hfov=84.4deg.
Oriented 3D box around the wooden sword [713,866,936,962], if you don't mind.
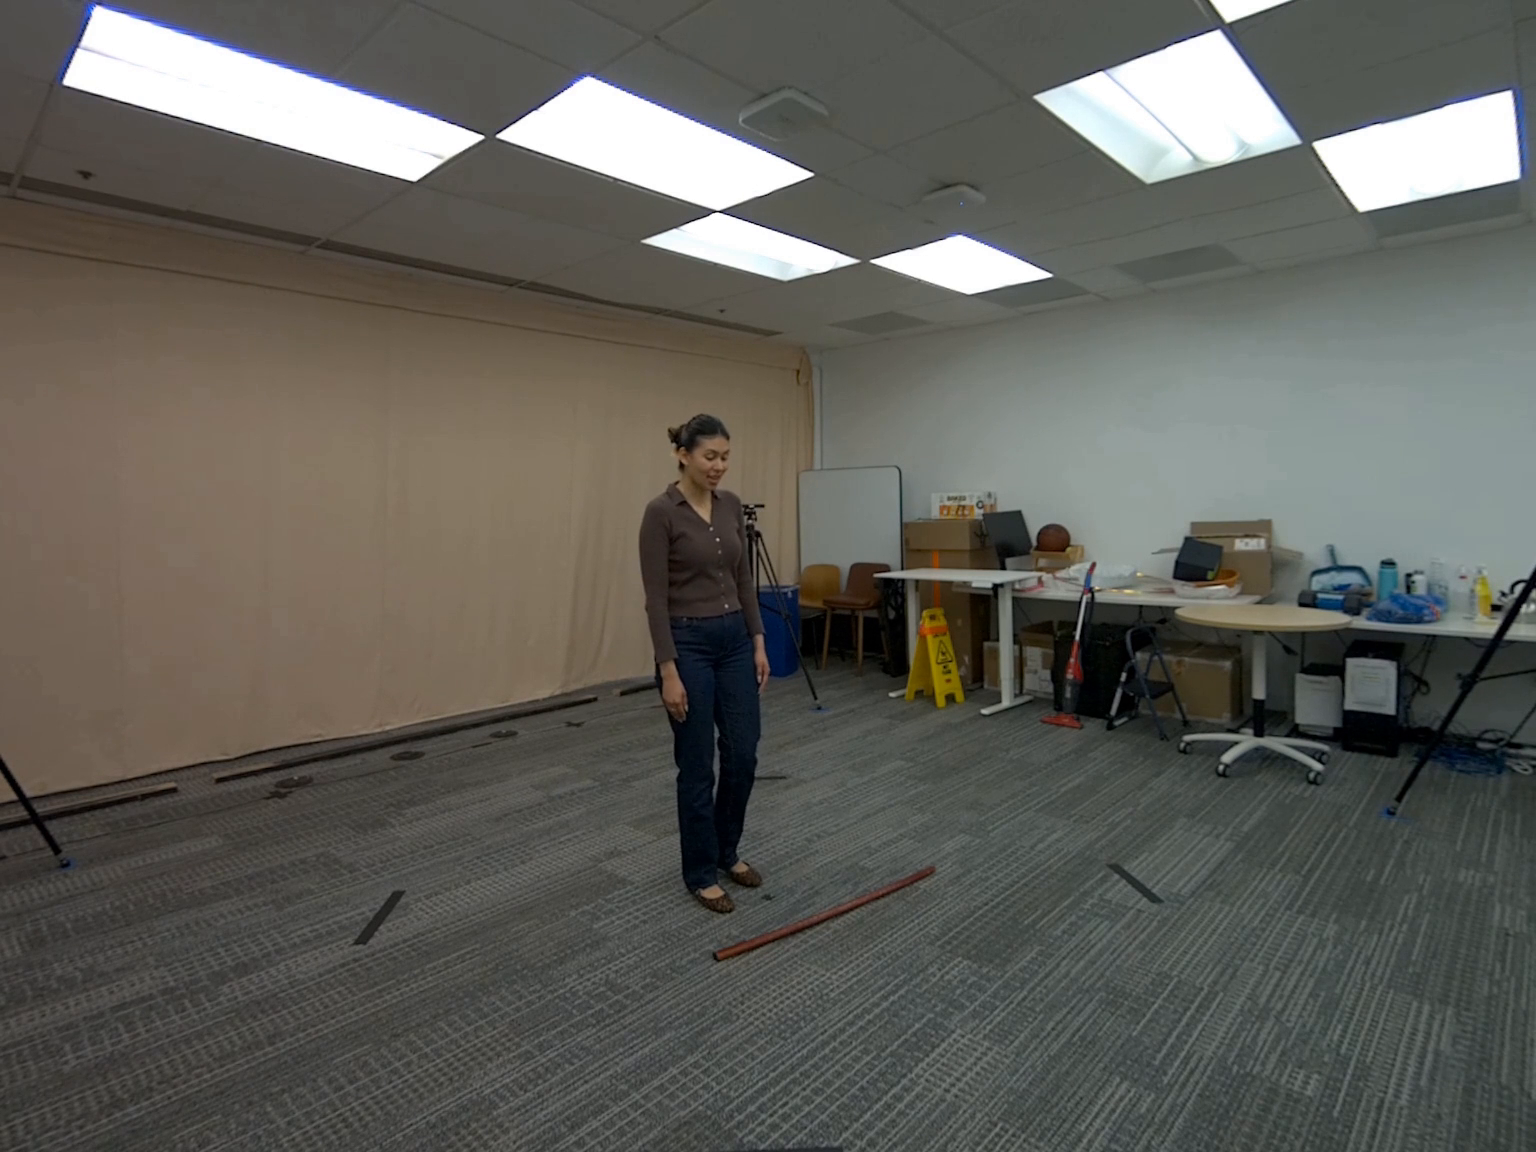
[{"bbox_3d":[0.242,1.121,2.879,0.995,0.053,0.024,-5,-36,-37],"label":"wooden sword"}]
